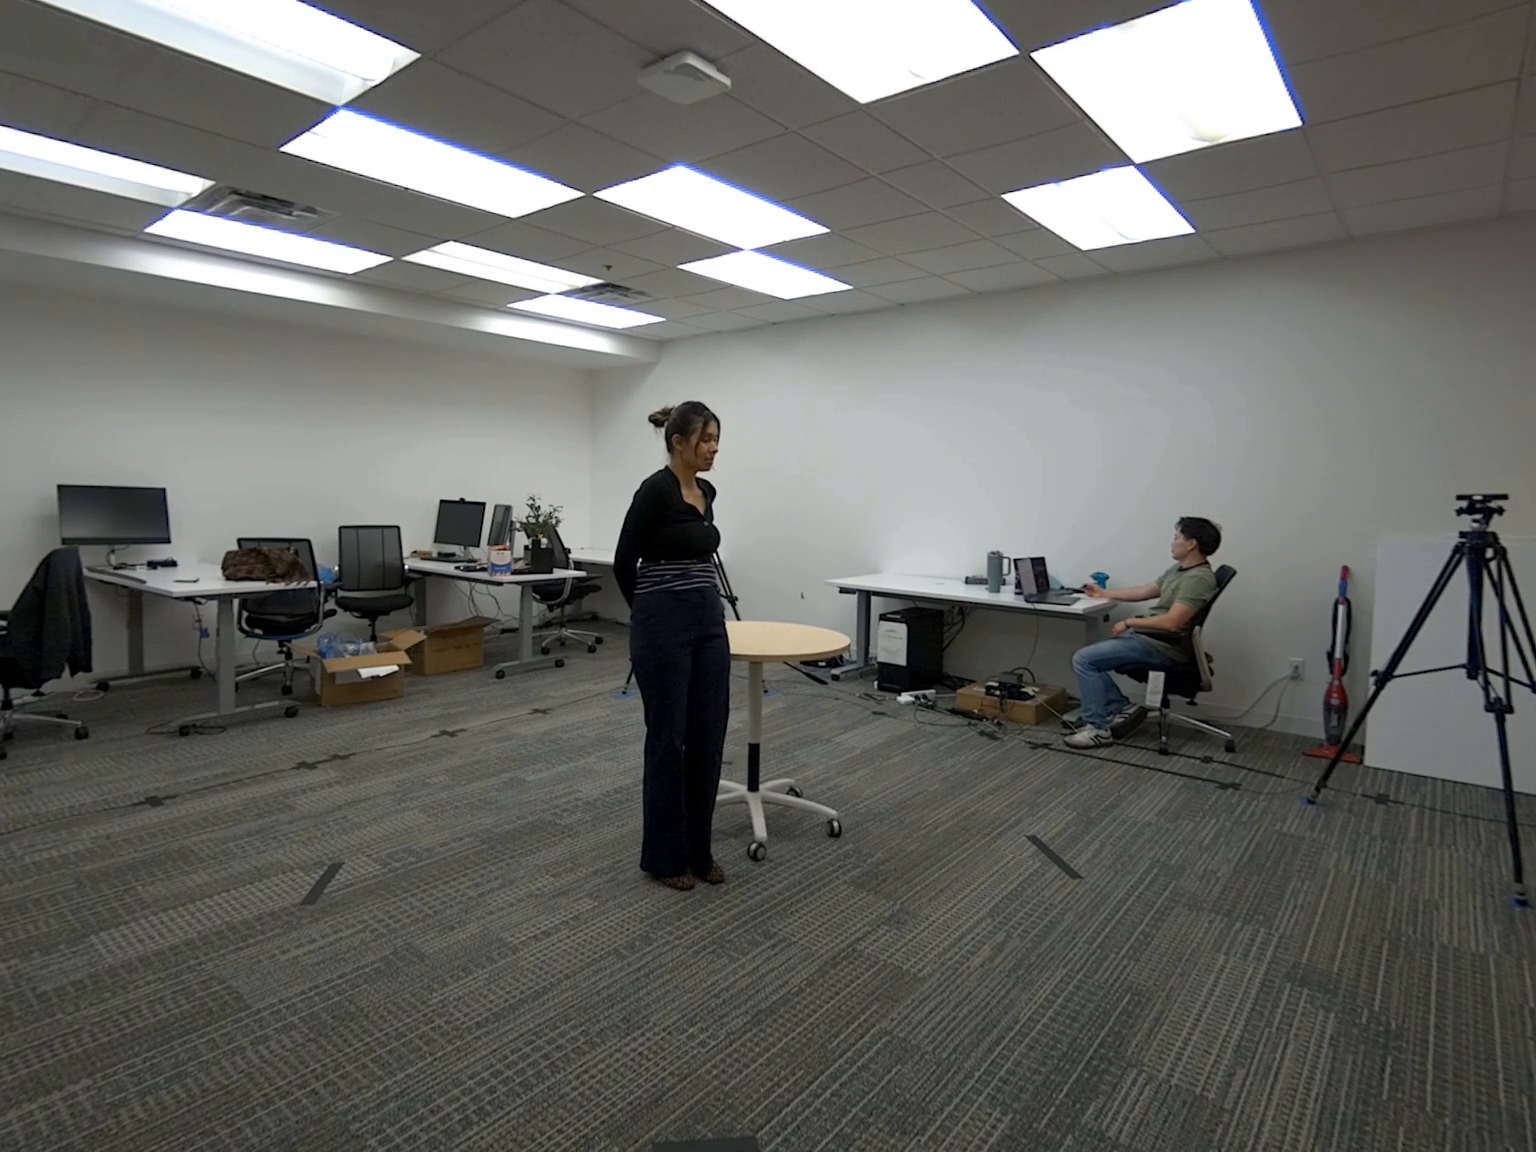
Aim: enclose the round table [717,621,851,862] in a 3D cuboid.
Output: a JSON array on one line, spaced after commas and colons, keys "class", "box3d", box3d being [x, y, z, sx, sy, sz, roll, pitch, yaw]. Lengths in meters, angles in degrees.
[{"class": "round table", "box3d": [-0.058, 0.638, 3.518, 0.763, 0.791, 0.768, 1, 4, -2]}]
